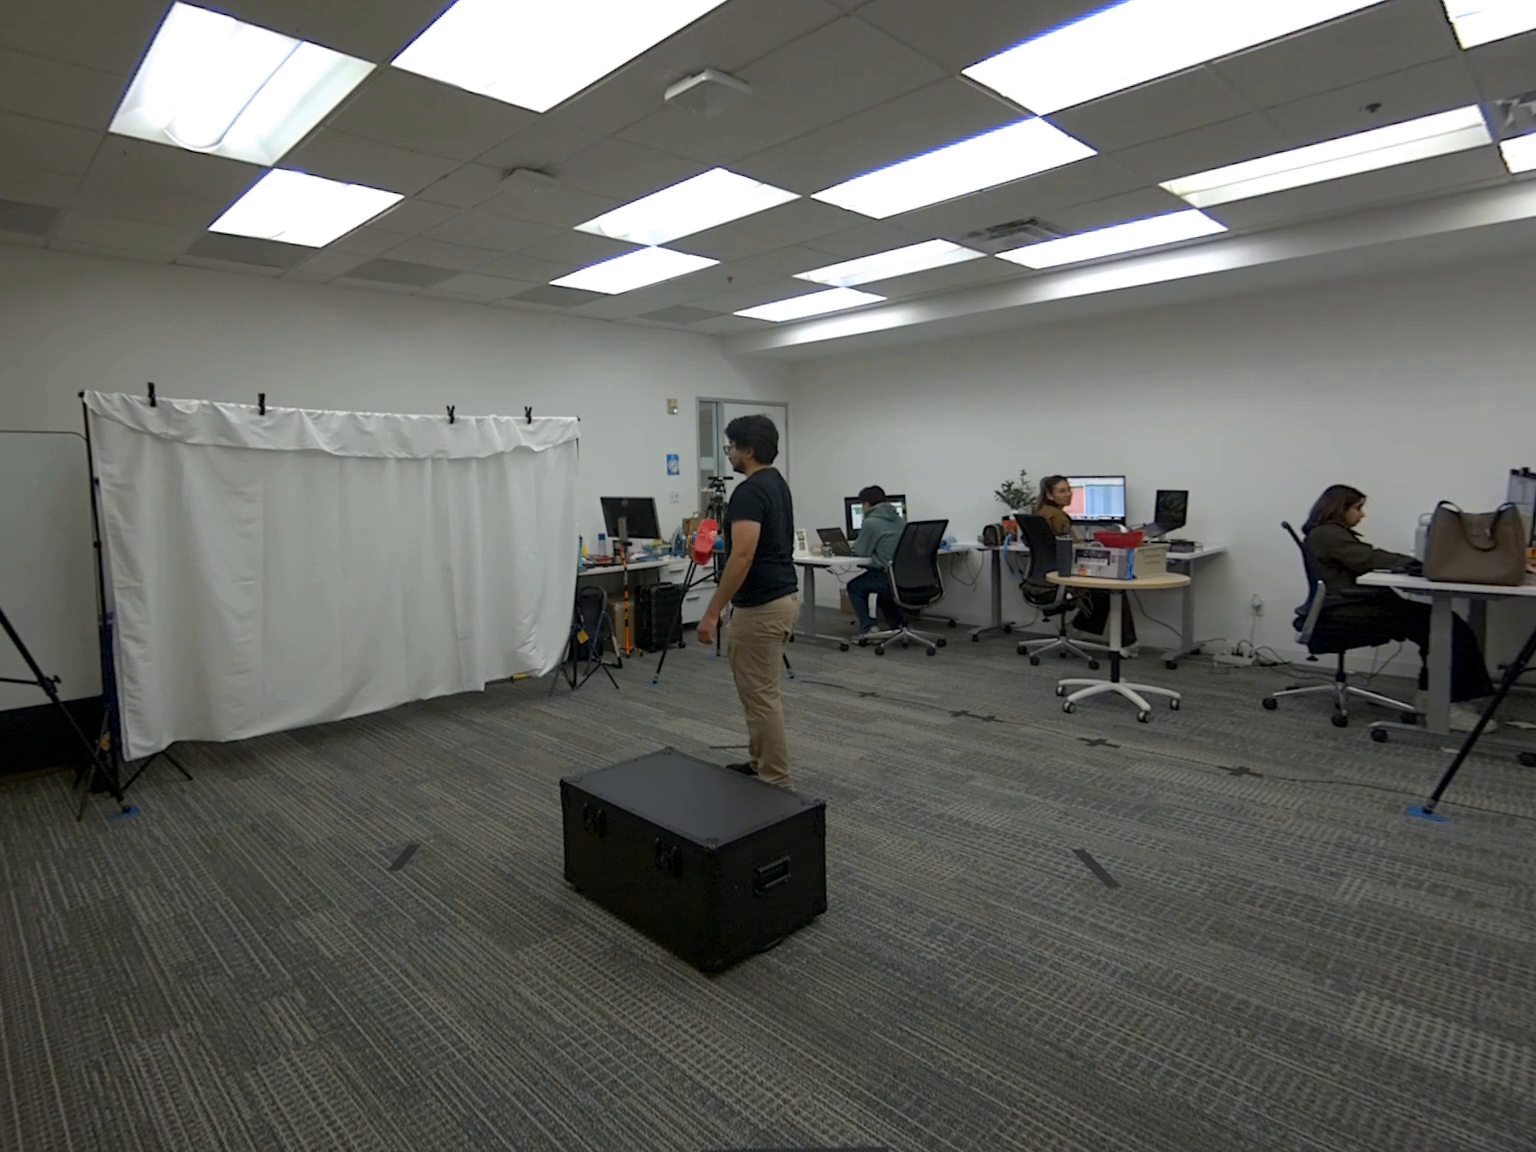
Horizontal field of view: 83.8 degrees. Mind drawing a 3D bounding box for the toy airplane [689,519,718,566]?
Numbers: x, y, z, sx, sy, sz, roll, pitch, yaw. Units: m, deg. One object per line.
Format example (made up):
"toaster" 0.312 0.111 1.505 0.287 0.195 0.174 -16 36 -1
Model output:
"toy airplane" -0.274 -0.164 4.318 0.258 0.151 0.260 -17 41 -8
